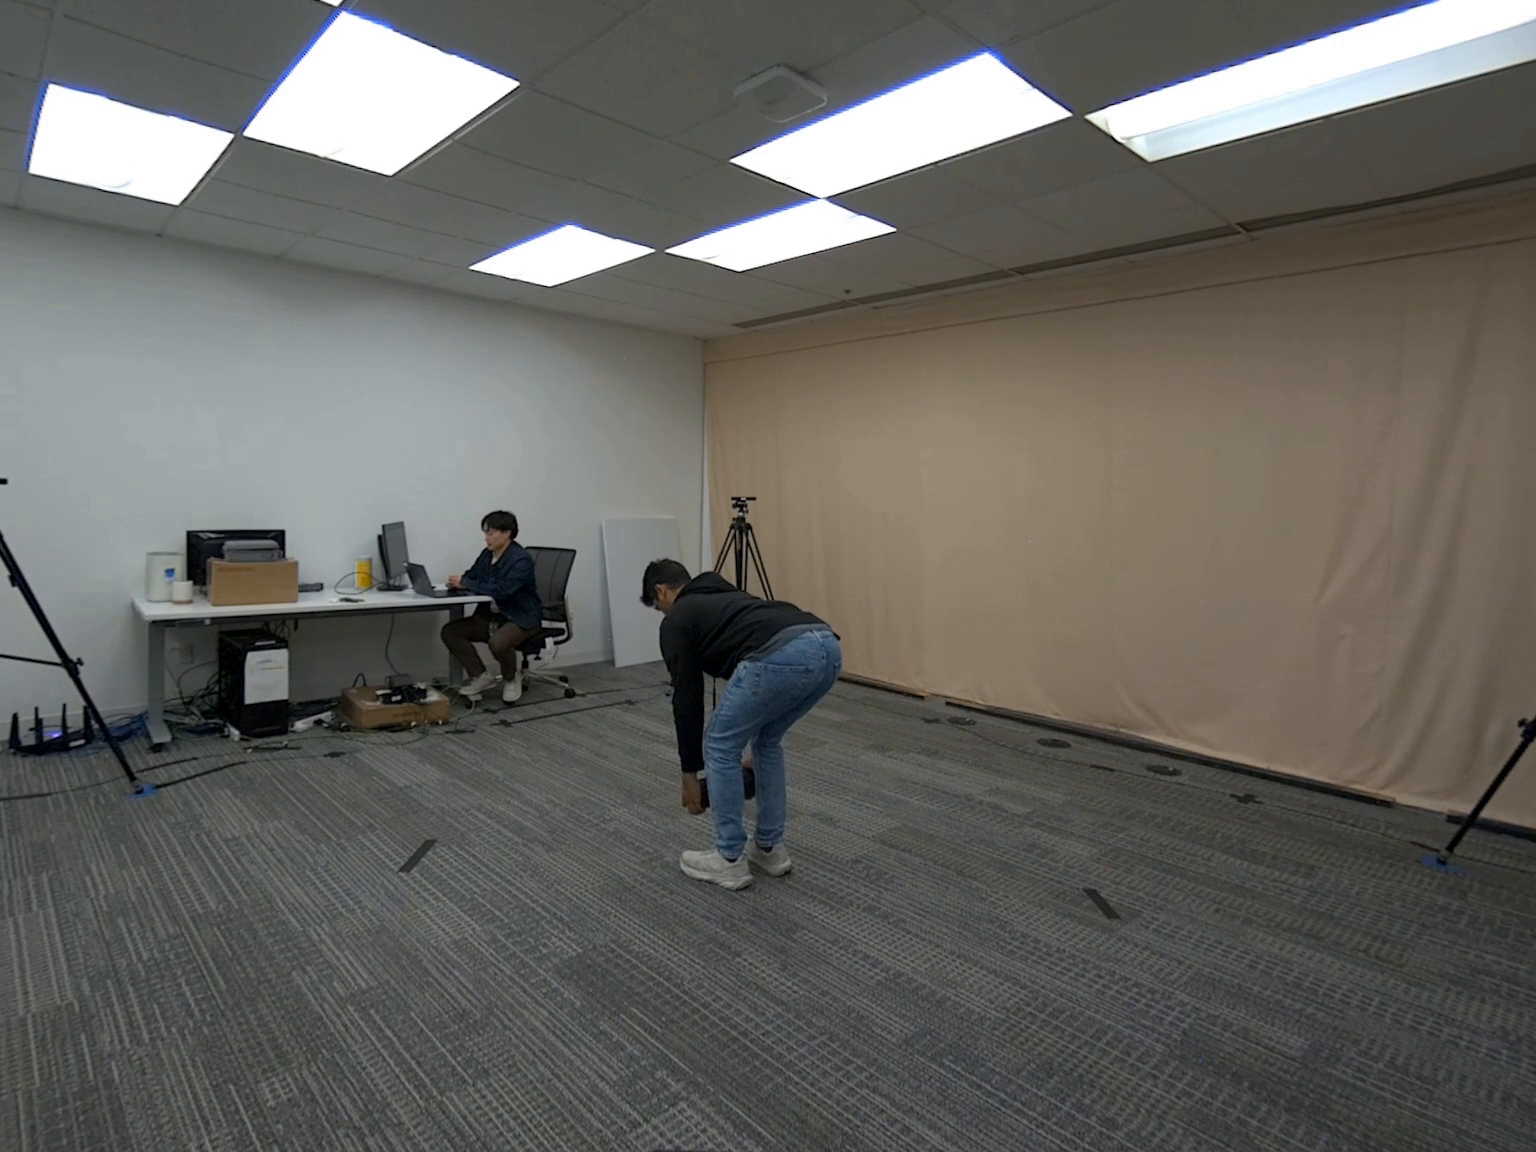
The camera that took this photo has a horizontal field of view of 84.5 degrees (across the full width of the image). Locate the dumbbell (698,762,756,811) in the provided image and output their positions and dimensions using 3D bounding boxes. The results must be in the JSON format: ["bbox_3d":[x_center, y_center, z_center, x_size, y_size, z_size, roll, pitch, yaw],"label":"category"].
[{"bbox_3d":[-0.184,0.825,3.238,0.286,0.108,0.127,-1,32,-44],"label":"dumbbell"}]
